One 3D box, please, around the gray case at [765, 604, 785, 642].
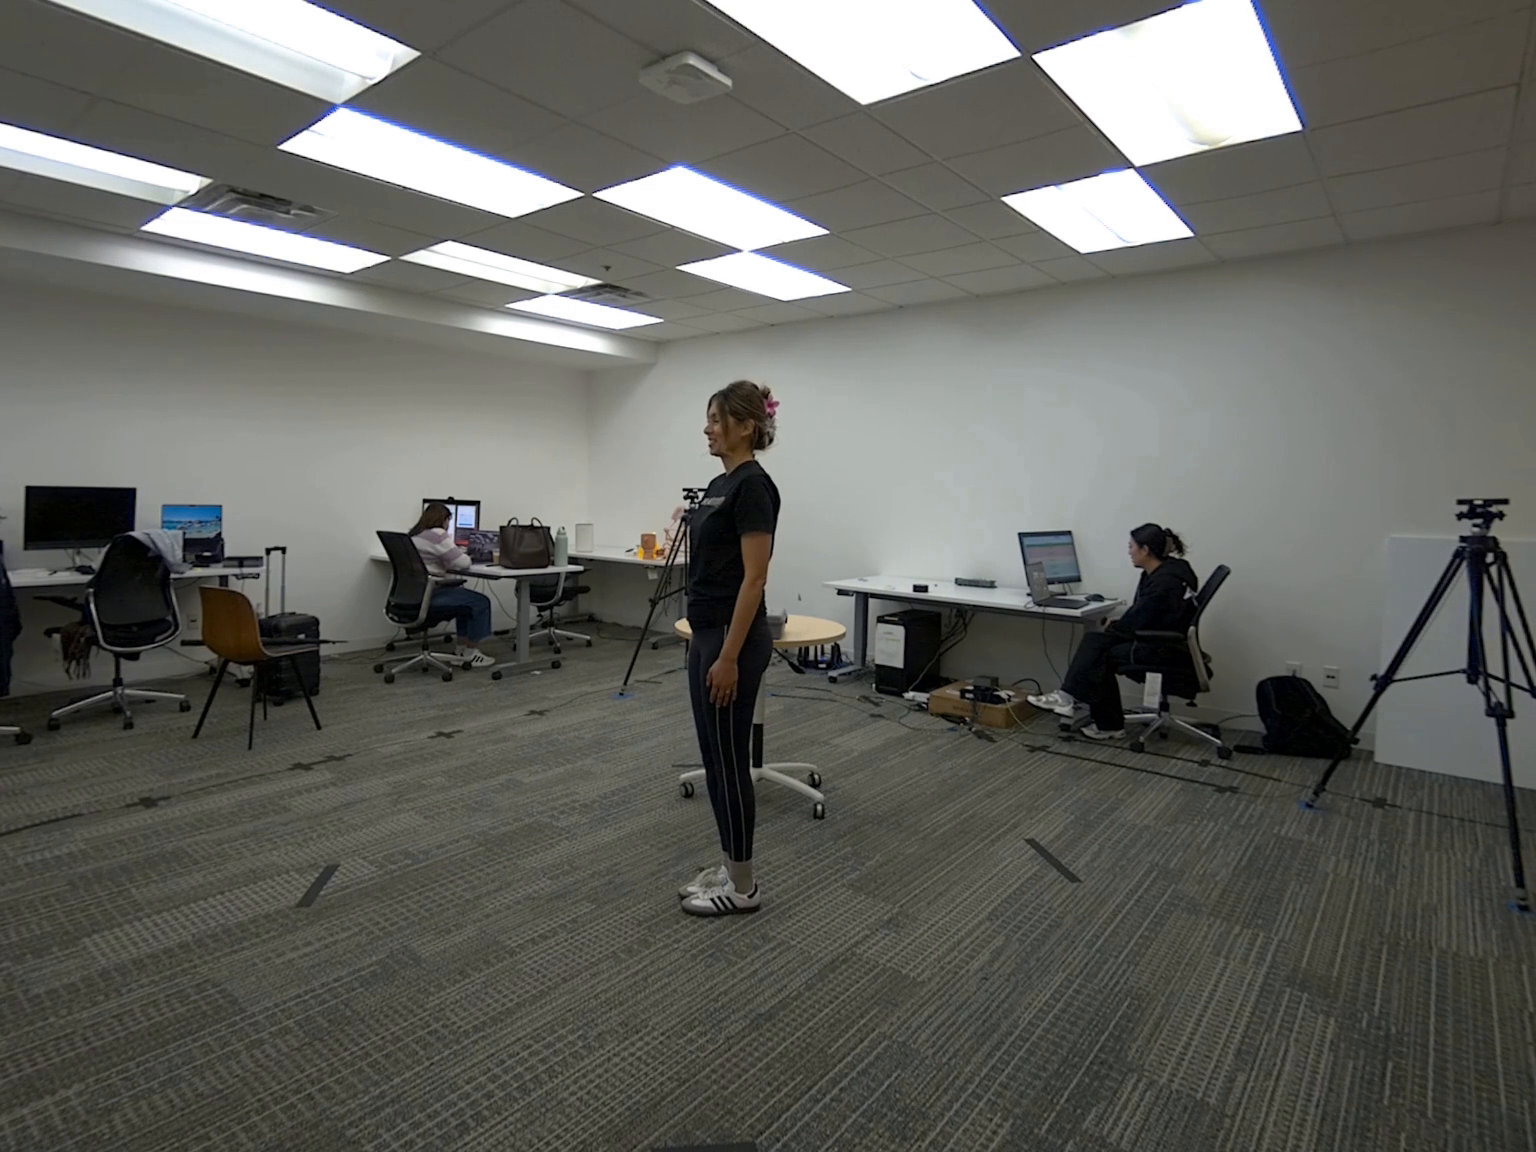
[{"bbox_3d":[-0.075,0.192,3.586,0.264,0.104,0.255,1,7,9],"label":"gray case"}]
